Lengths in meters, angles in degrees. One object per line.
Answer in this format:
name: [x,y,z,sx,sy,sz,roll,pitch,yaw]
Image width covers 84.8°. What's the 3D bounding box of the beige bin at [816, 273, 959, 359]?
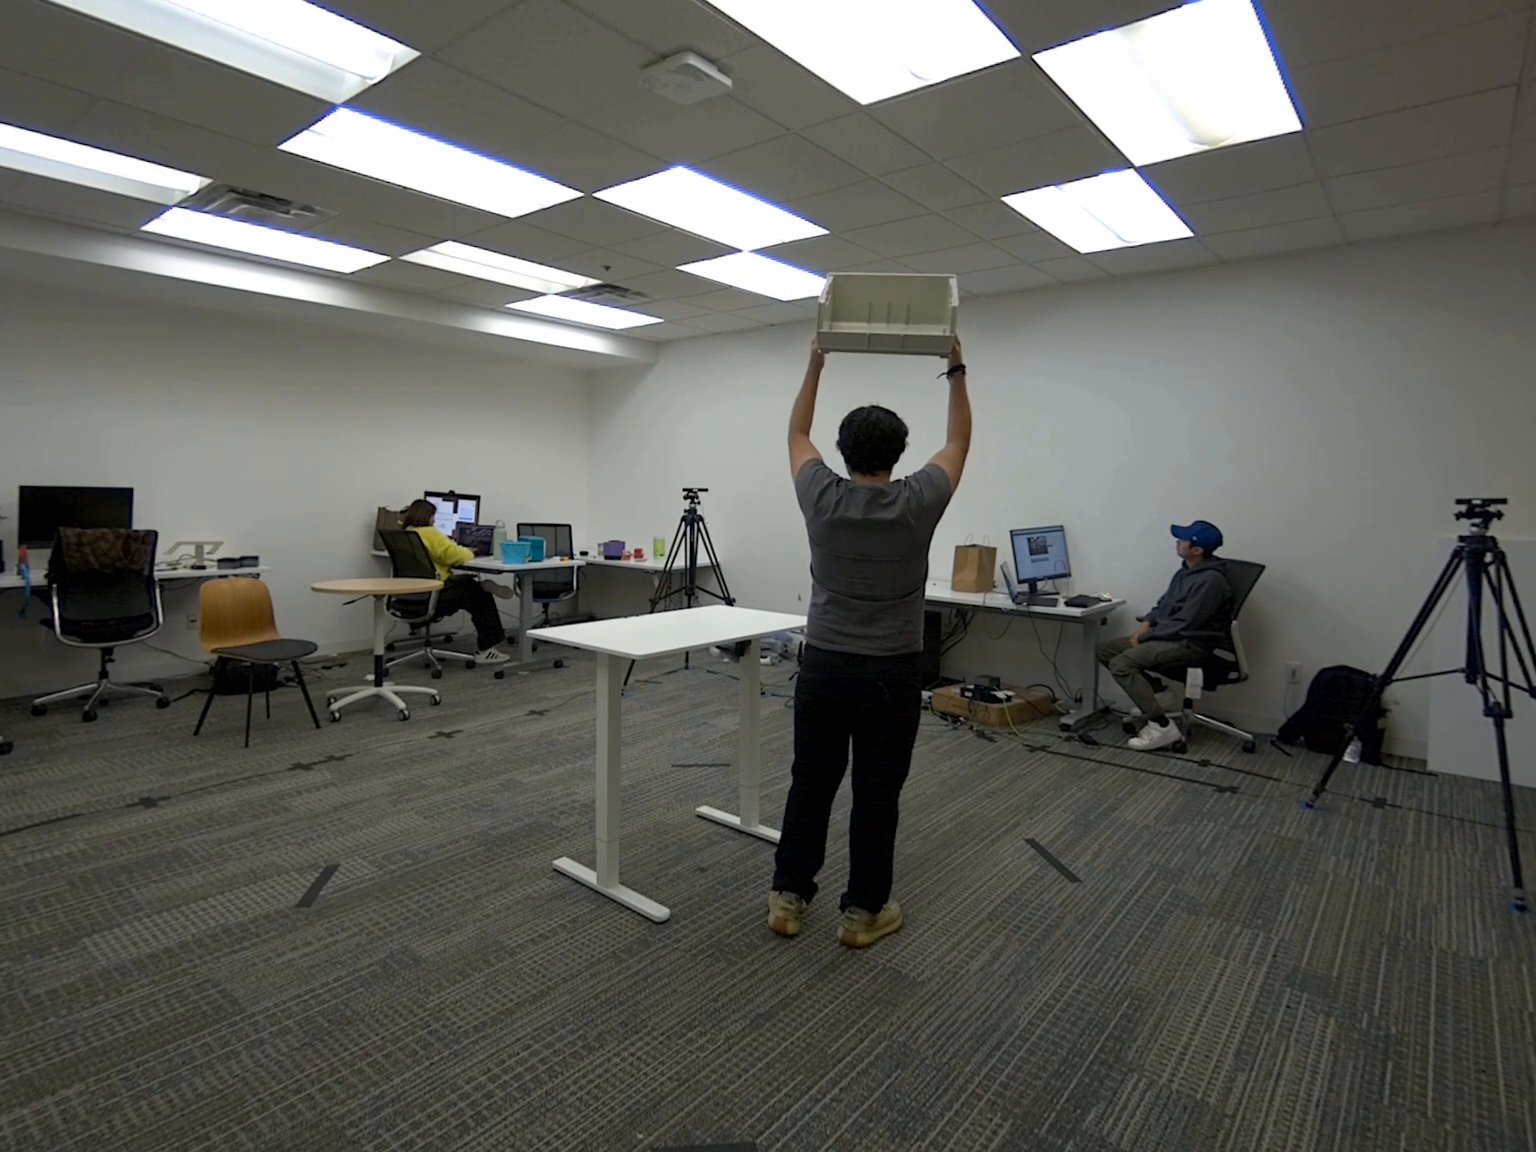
beige bin: [0.378,-0.843,2.749,0.427,0.184,0.383,4,32,10]
